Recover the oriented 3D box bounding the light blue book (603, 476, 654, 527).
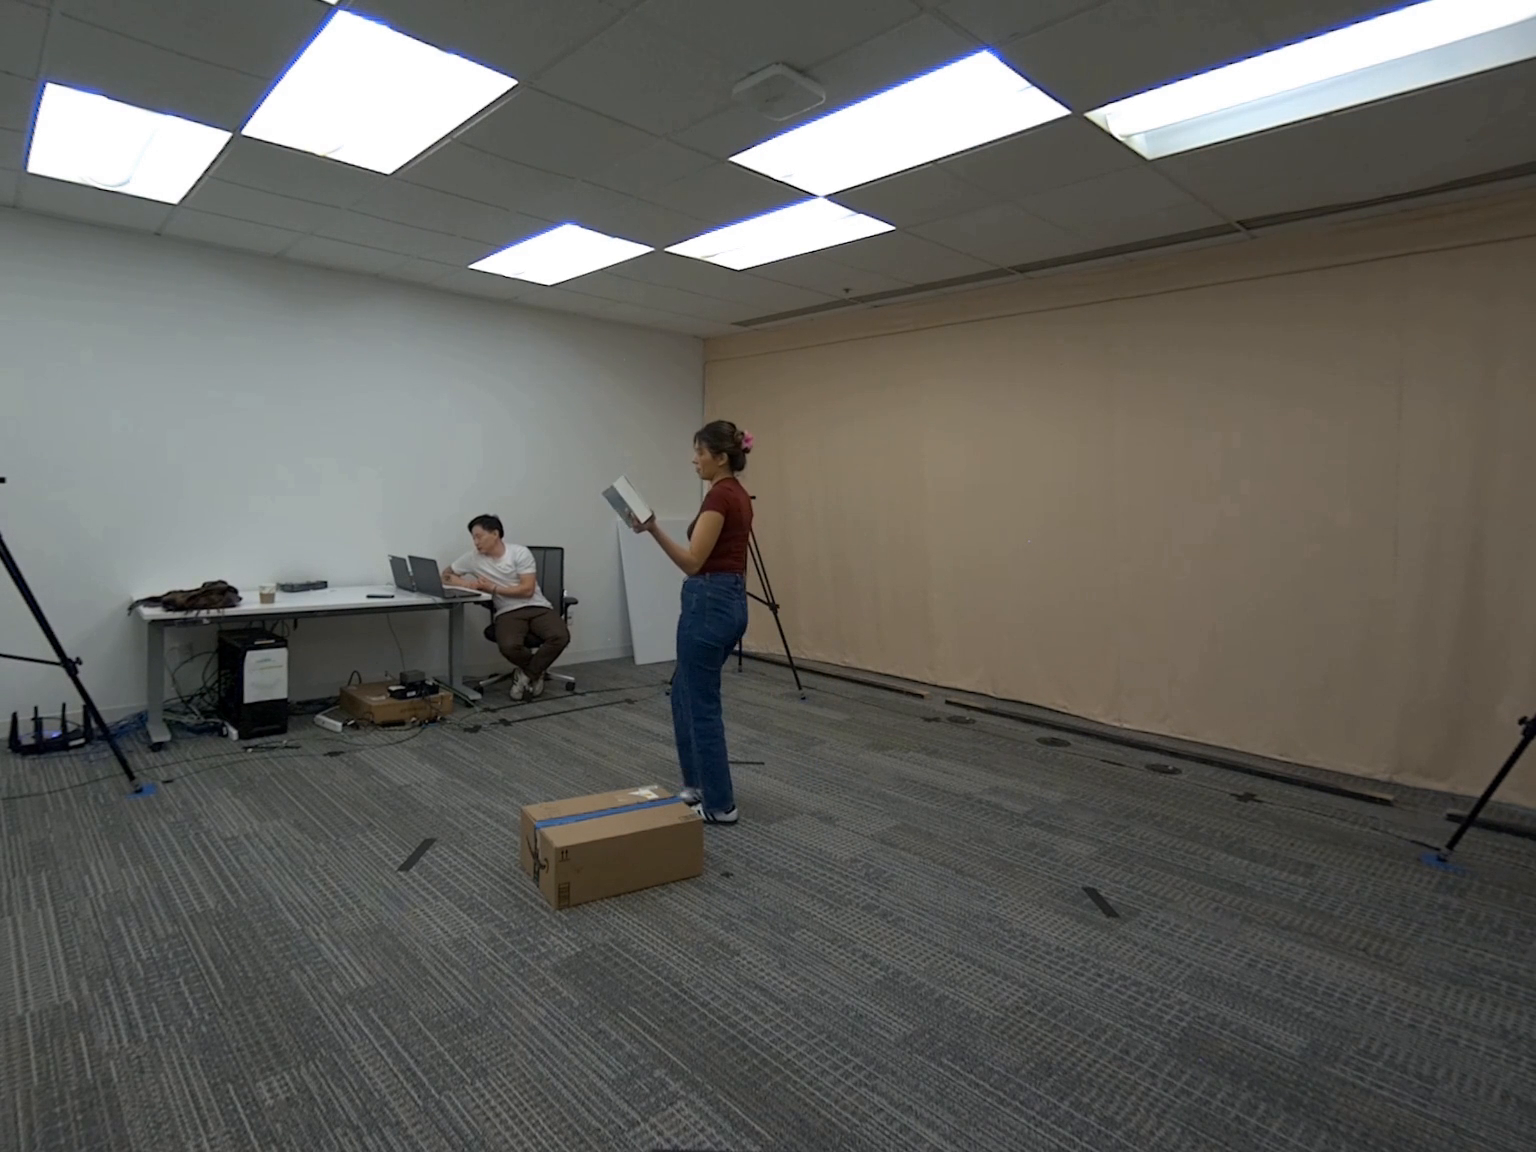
[{"bbox_3d":[-0.553,-0.283,3.264,0.059,0.190,0.264,-36,8,-15],"label":"light blue book"}]
